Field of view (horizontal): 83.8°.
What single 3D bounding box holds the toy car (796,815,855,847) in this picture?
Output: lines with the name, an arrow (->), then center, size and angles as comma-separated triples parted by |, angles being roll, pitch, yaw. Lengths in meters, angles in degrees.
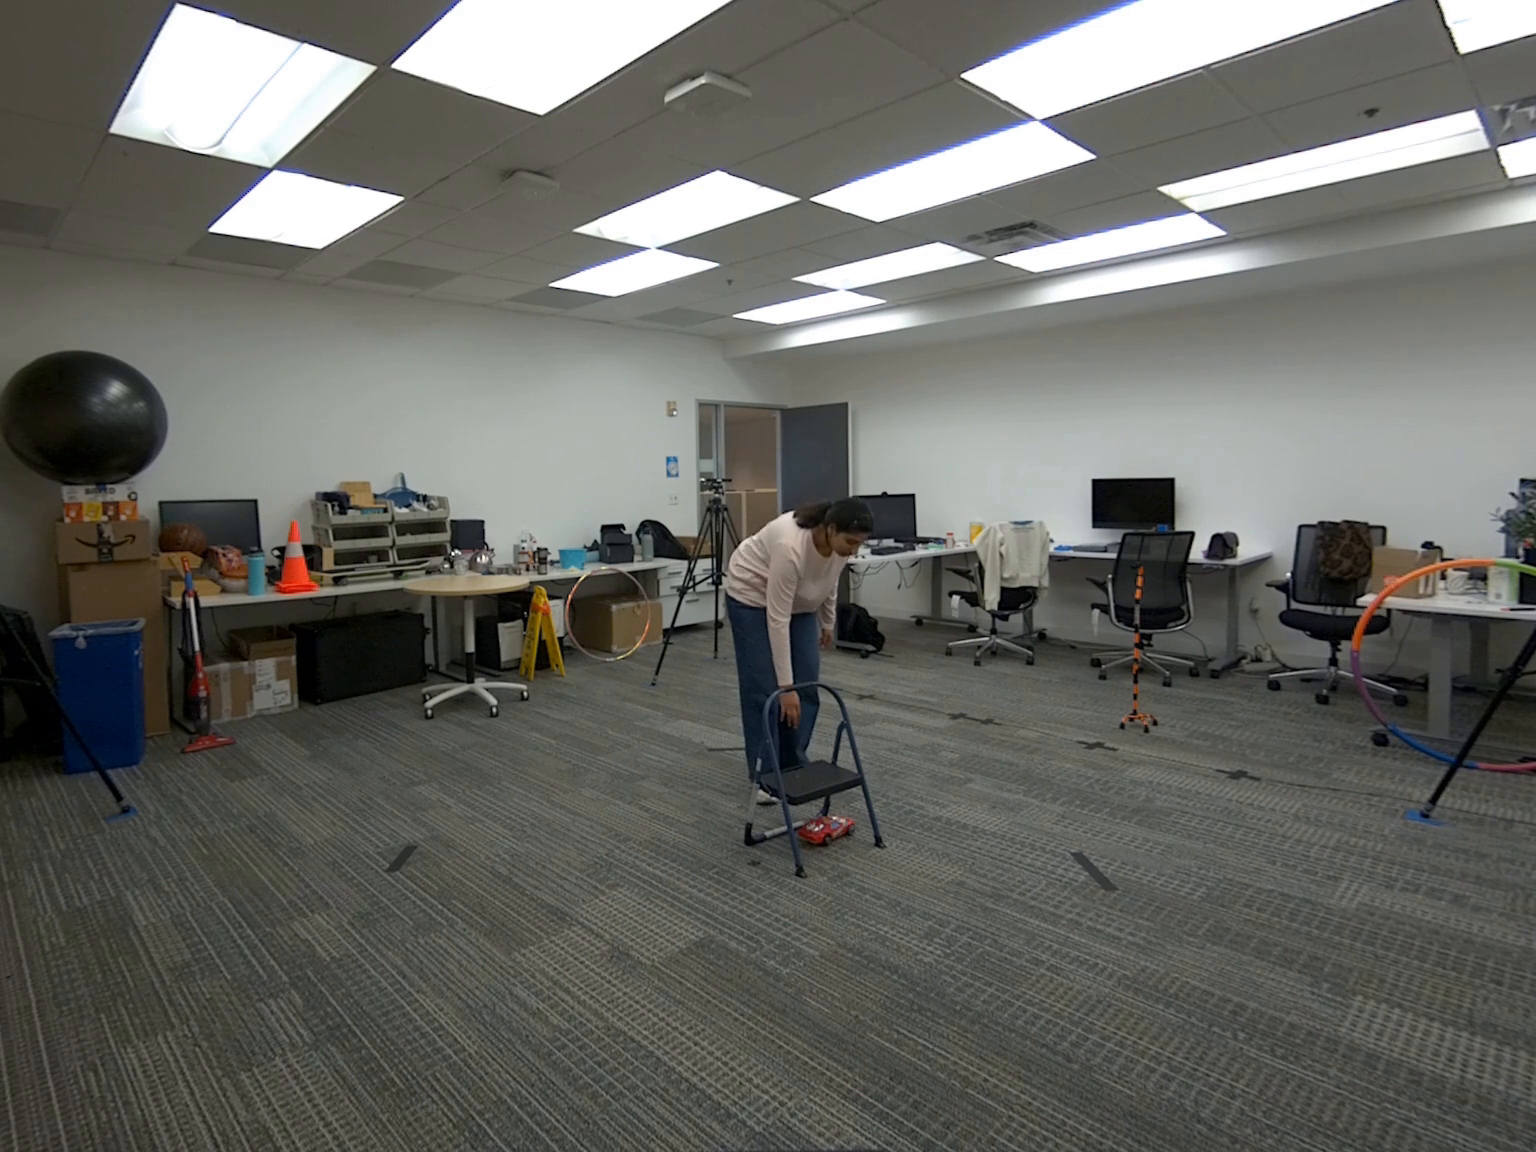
toy car -> 0.217, 0.987, 3.312 | 0.246, 0.083, 0.134 | 7, -2, -43
